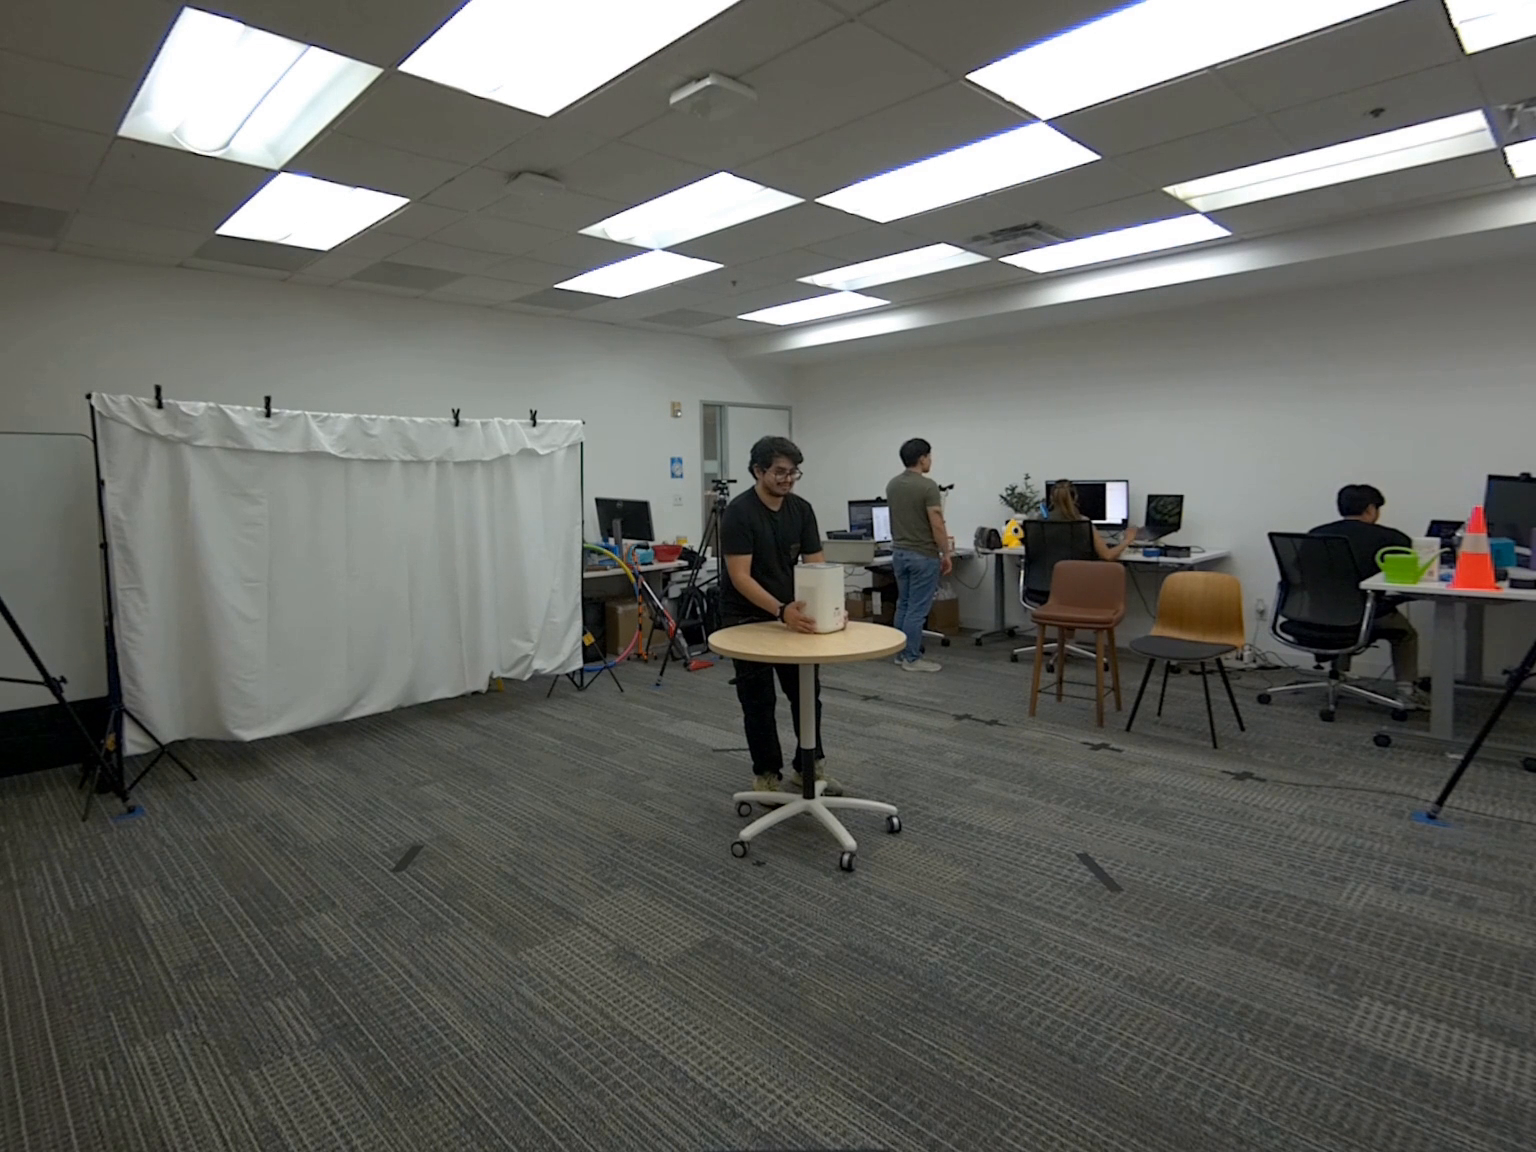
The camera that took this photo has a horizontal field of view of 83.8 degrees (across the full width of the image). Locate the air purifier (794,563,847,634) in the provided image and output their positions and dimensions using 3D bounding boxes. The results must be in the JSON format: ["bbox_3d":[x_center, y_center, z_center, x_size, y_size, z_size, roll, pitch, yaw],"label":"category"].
[{"bbox_3d":[0.209,0.089,3.449,0.177,0.264,0.166,3,6,40],"label":"air purifier"}]
